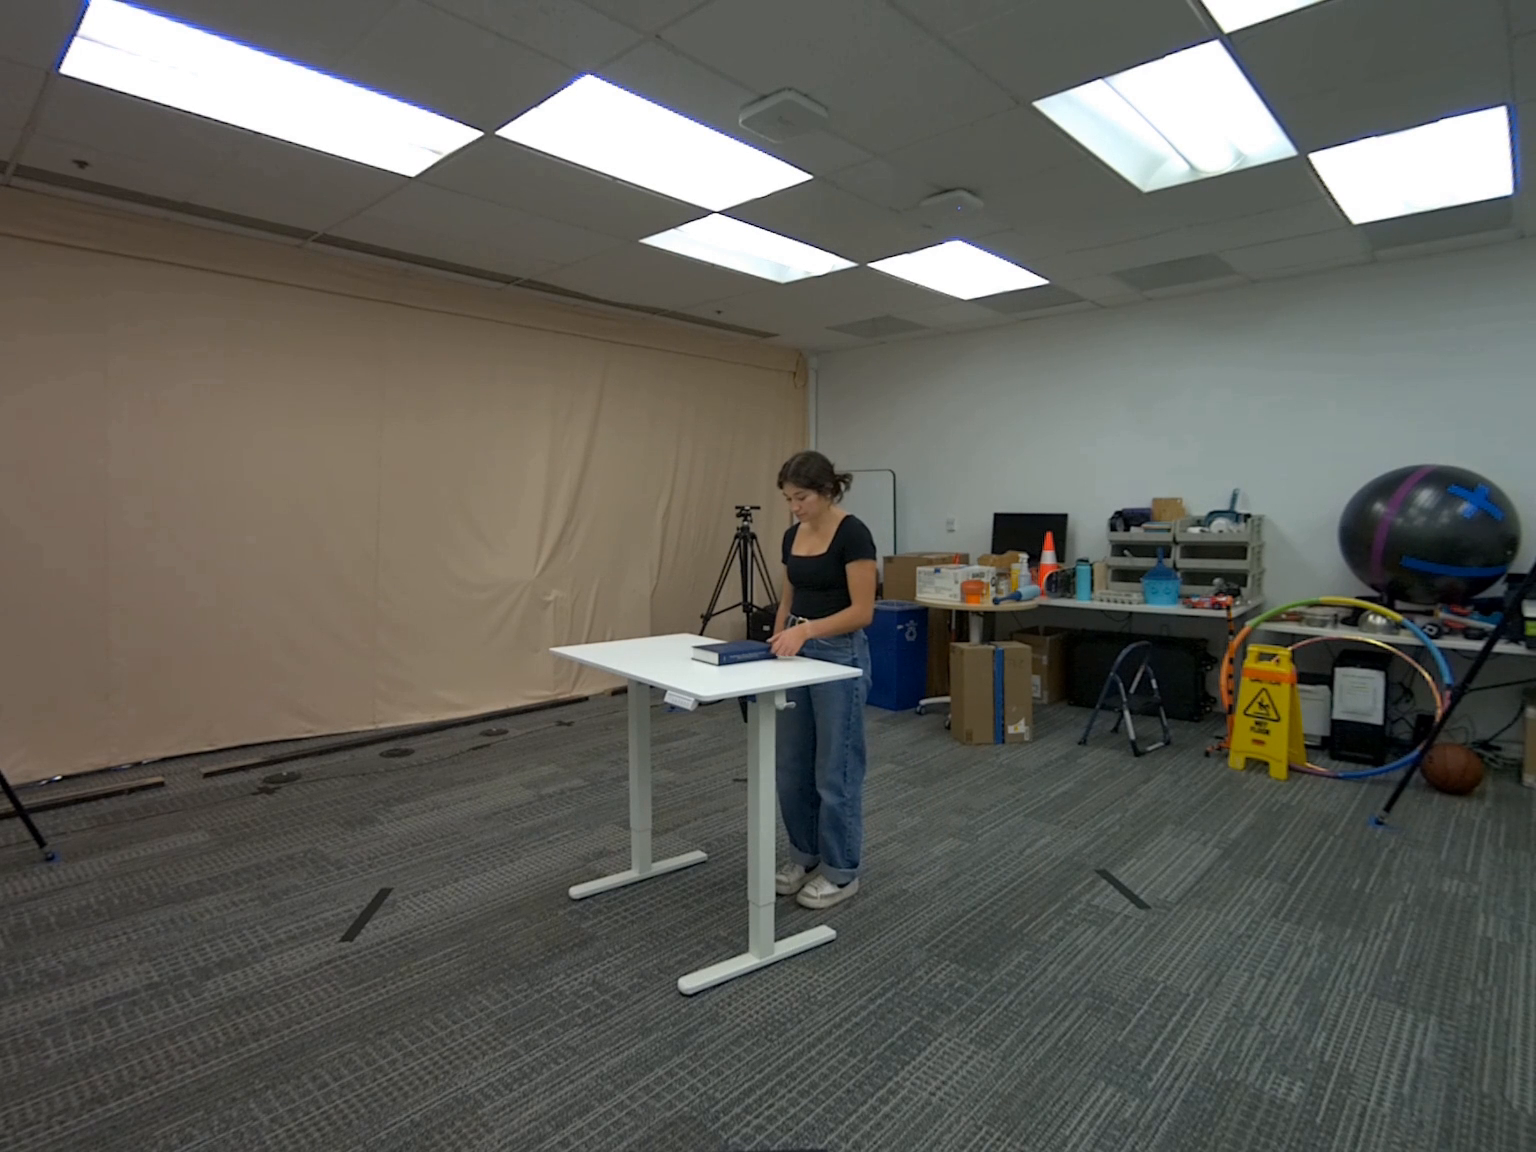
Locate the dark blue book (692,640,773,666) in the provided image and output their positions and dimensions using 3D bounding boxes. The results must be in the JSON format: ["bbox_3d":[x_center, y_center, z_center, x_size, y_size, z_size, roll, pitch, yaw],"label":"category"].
[{"bbox_3d":[-0.107,0.257,2.827,0.238,0.045,0.169,-4,6,-36],"label":"dark blue book"}]
